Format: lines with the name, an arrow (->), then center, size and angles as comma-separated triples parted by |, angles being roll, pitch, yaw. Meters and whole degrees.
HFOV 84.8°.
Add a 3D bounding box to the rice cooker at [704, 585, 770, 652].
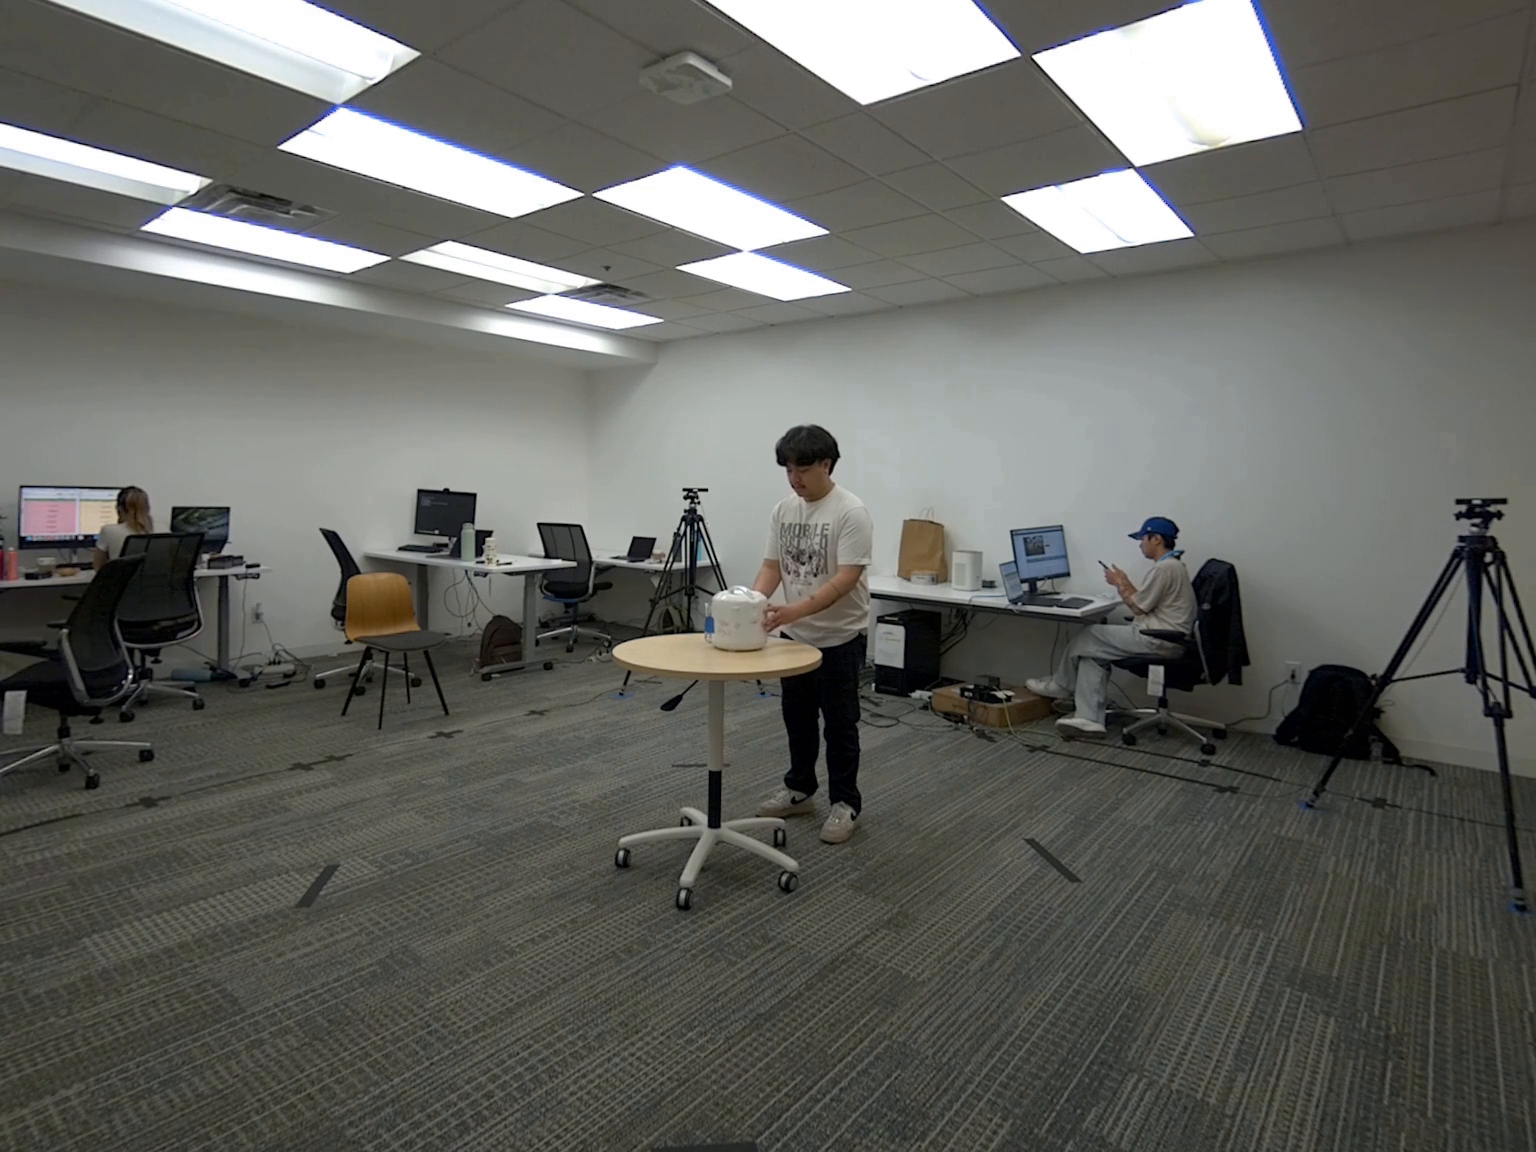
rice cooker -> -0.115, 0.150, 3.188 | 0.212, 0.232, 0.228 | -2, 6, -31
